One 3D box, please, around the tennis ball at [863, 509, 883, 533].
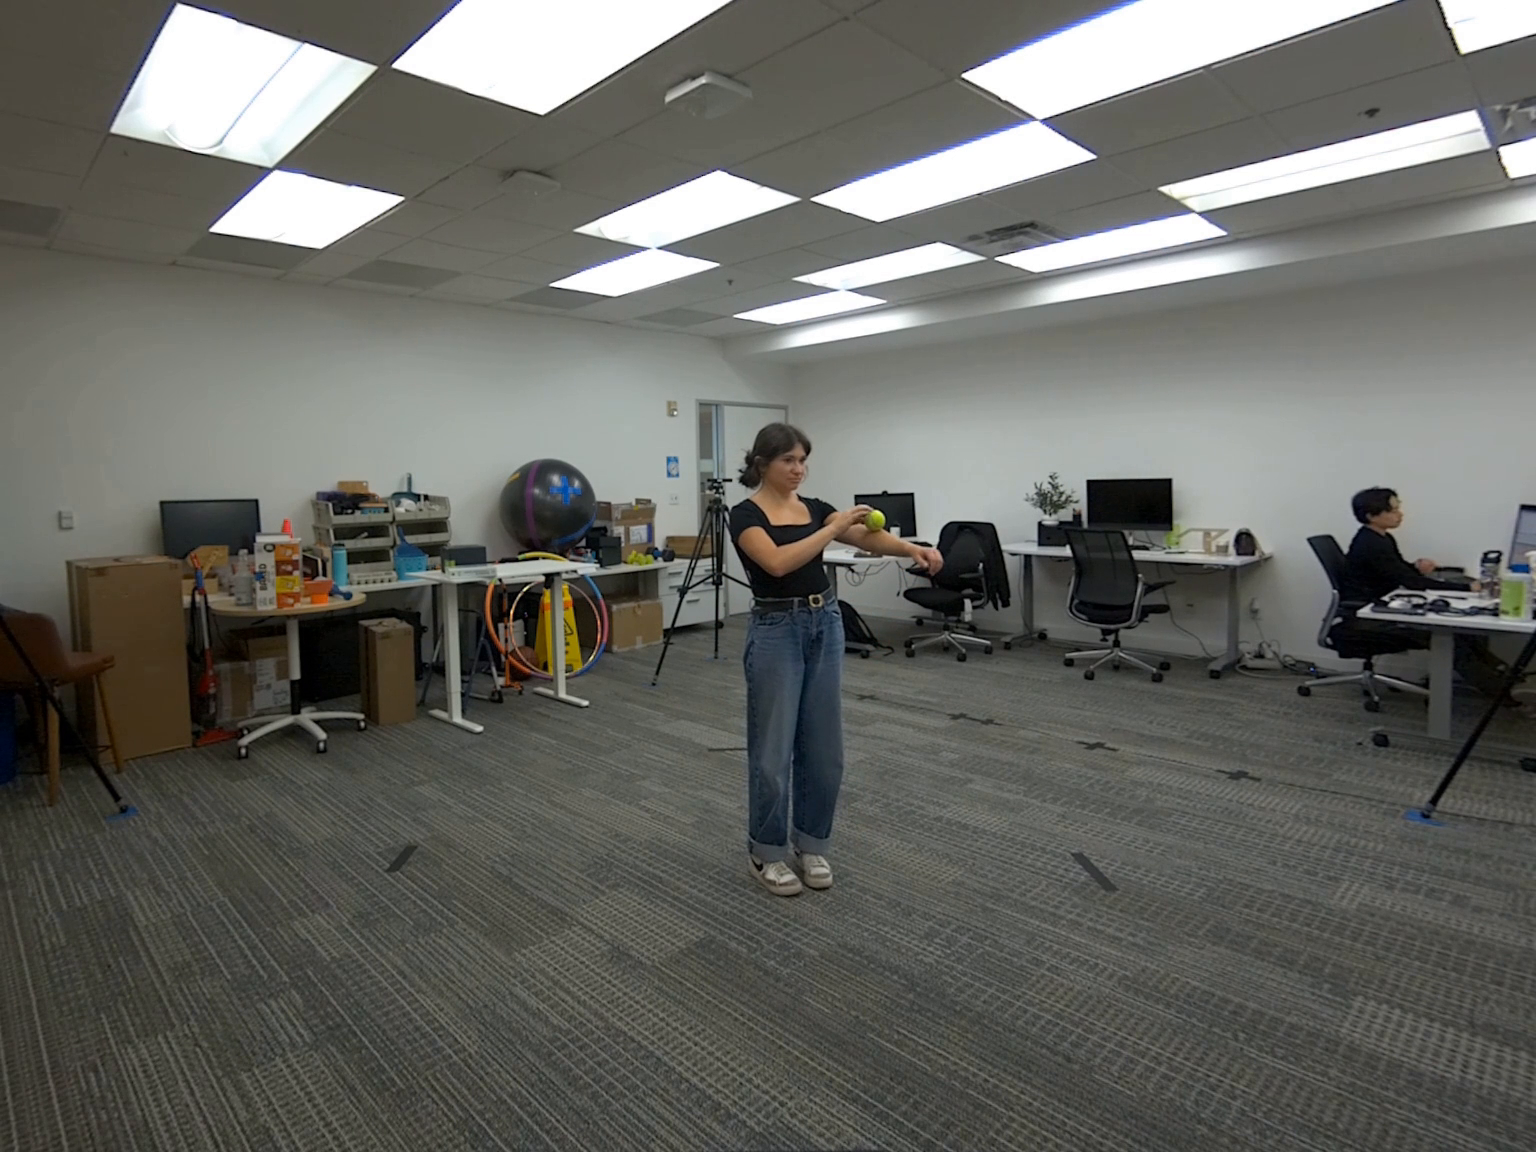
[{"bbox_3d":[0.309,-0.177,2.797,0.066,0.066,0.067,-1,5,-2],"label":"tennis ball"}]
